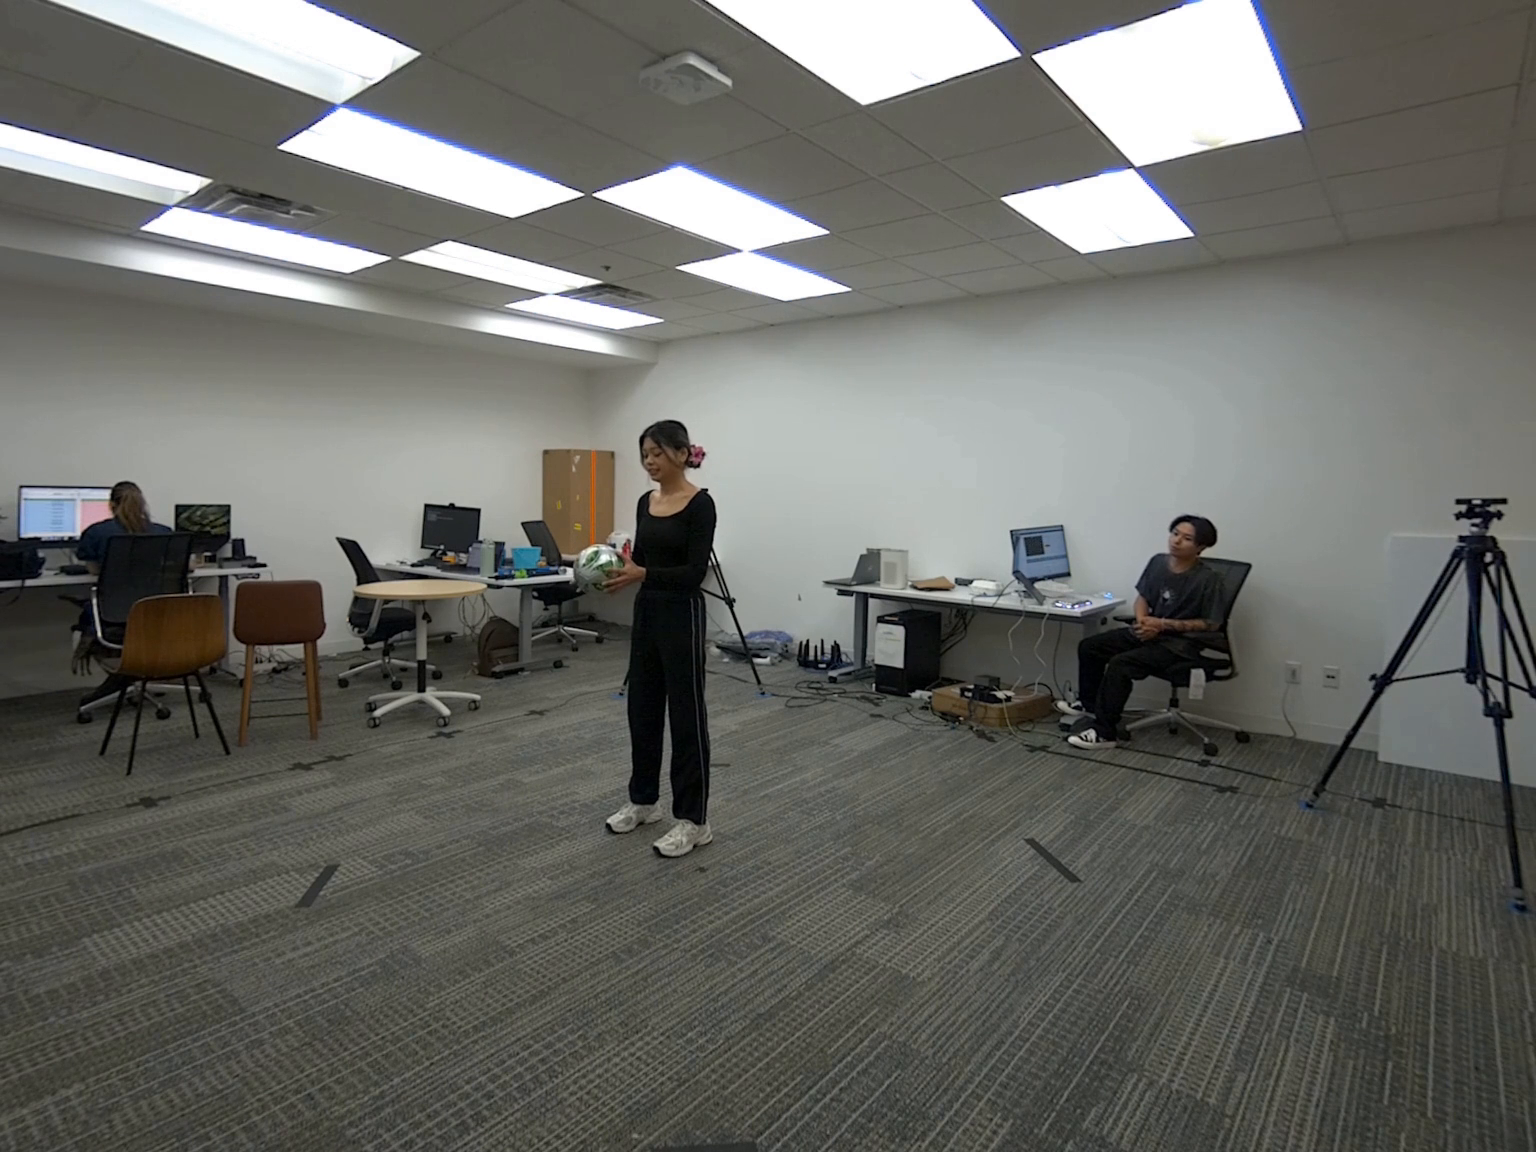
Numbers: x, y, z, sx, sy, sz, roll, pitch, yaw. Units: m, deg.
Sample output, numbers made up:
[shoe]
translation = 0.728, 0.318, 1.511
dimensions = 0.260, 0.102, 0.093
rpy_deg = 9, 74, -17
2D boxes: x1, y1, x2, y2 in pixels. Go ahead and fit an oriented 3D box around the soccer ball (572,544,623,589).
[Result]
[soccer ball]
translation = -0.625, -0.035, 3.080
dimensions = 0.187, 0.187, 0.188
rpy_deg = 1, 4, -2
